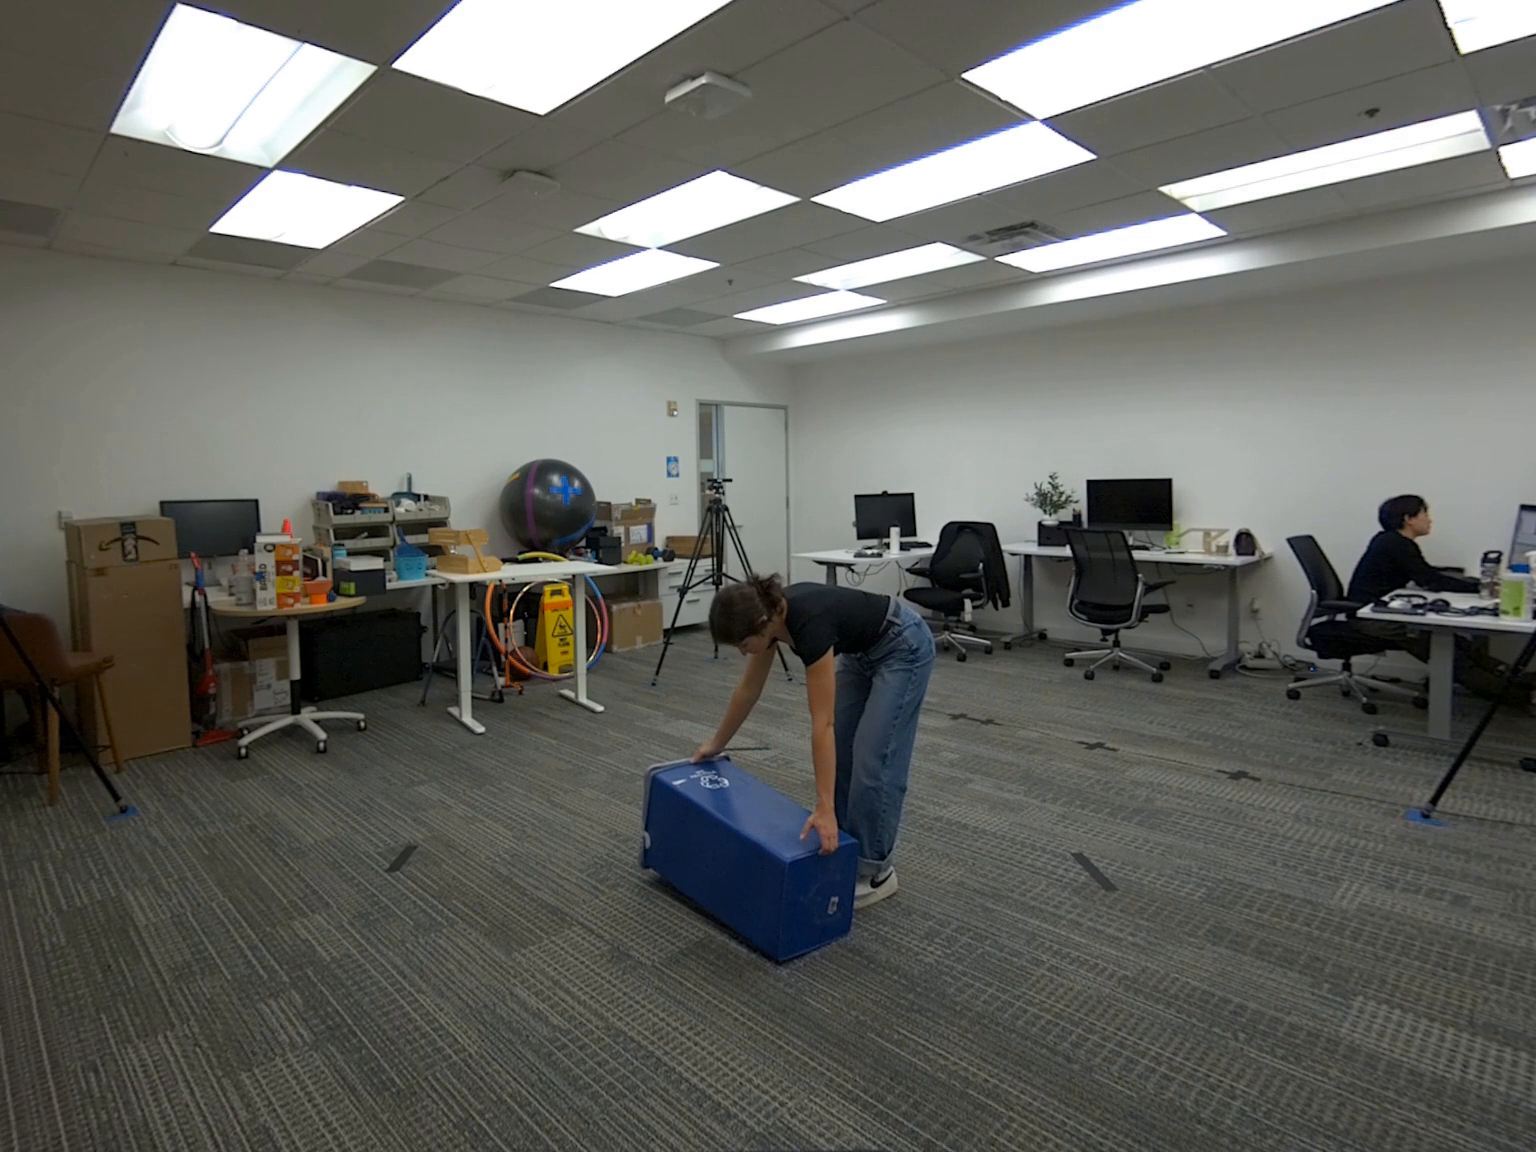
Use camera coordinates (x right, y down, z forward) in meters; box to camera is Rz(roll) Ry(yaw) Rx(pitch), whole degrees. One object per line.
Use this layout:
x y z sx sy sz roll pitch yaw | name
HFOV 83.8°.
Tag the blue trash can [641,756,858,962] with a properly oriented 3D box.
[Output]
-0.072 0.902 2.786 0.367 0.372 0.738 1 8 -39 | blue trash can
